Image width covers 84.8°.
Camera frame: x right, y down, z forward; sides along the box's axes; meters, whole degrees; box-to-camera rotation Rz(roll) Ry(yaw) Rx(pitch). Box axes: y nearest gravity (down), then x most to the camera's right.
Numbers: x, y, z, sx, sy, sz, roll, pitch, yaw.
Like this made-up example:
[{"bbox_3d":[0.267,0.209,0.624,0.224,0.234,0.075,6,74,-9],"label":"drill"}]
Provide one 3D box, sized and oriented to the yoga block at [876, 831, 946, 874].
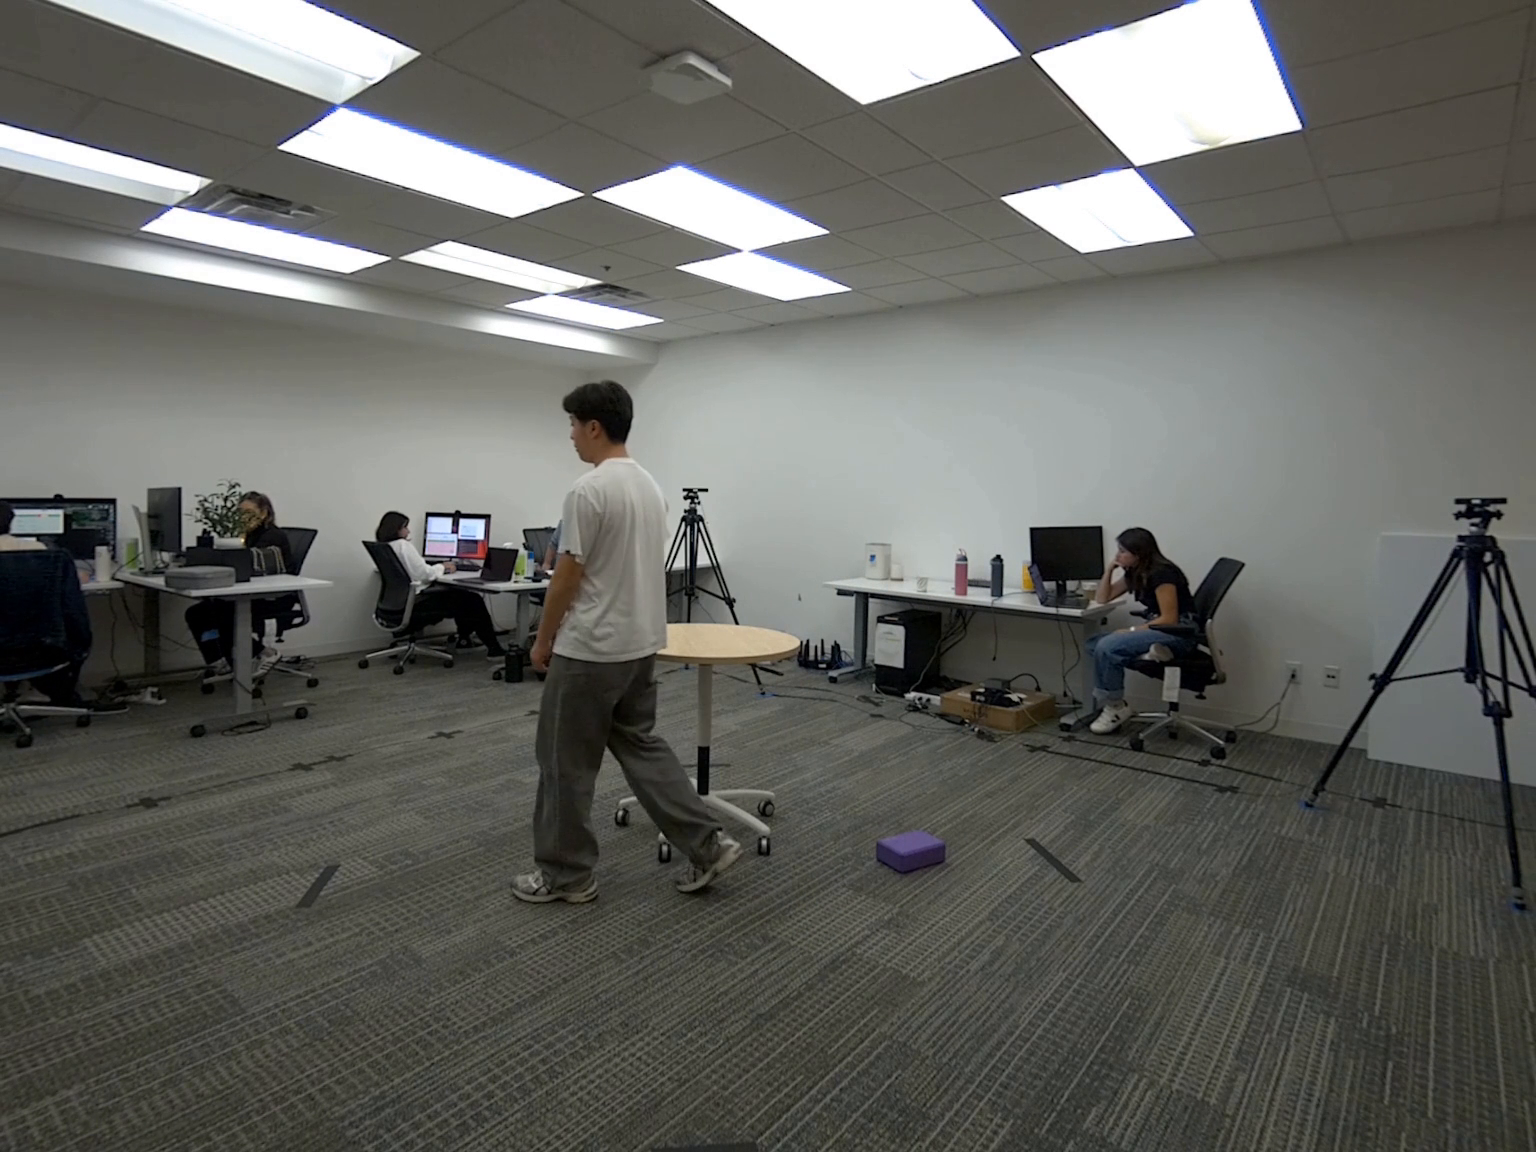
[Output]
[{"bbox_3d":[0.547,1.033,3.221,0.223,0.076,0.154,-2,6,-32],"label":"yoga block"}]
